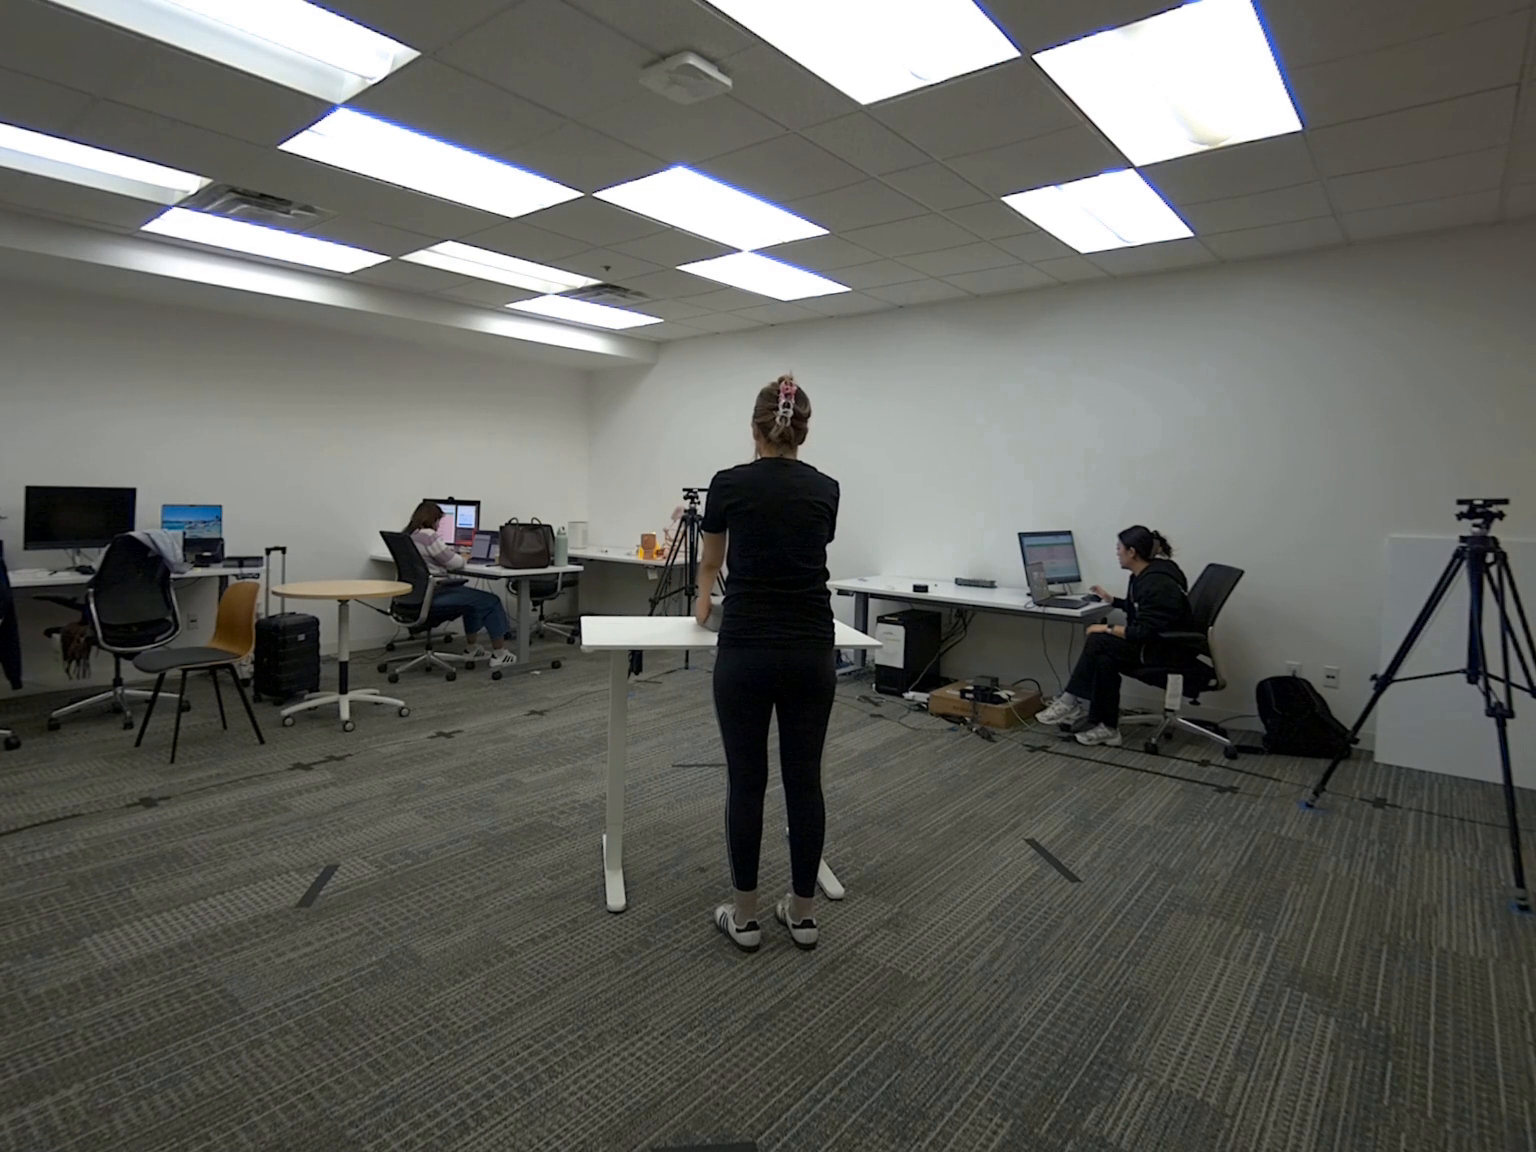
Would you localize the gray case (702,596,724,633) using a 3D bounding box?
[{"bbox_3d":[-0.131,0.136,3.150,0.252,0.104,0.266,-2,5,-18],"label":"gray case"}]
